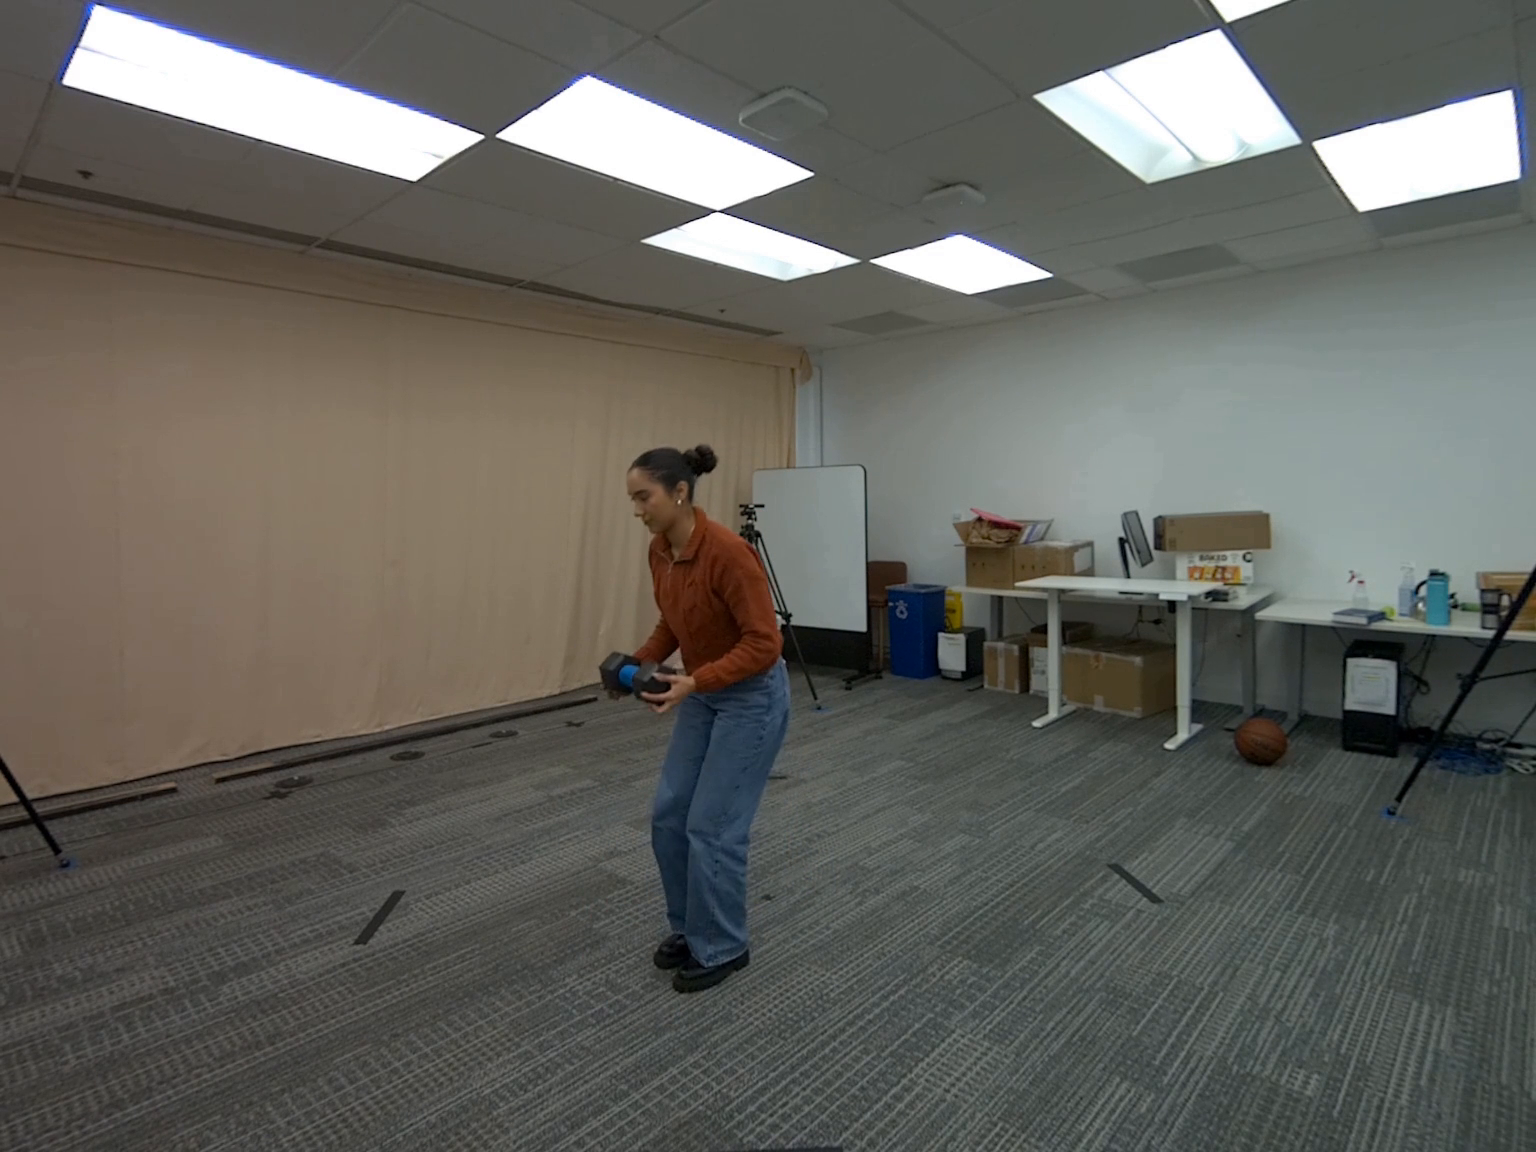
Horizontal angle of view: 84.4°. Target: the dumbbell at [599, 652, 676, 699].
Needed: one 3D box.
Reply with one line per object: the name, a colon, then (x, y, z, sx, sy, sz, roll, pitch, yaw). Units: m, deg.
dumbbell: (-0.360, 0.313, 2.380, 0.122, 0.106, 0.303, -48, 28, -23)
